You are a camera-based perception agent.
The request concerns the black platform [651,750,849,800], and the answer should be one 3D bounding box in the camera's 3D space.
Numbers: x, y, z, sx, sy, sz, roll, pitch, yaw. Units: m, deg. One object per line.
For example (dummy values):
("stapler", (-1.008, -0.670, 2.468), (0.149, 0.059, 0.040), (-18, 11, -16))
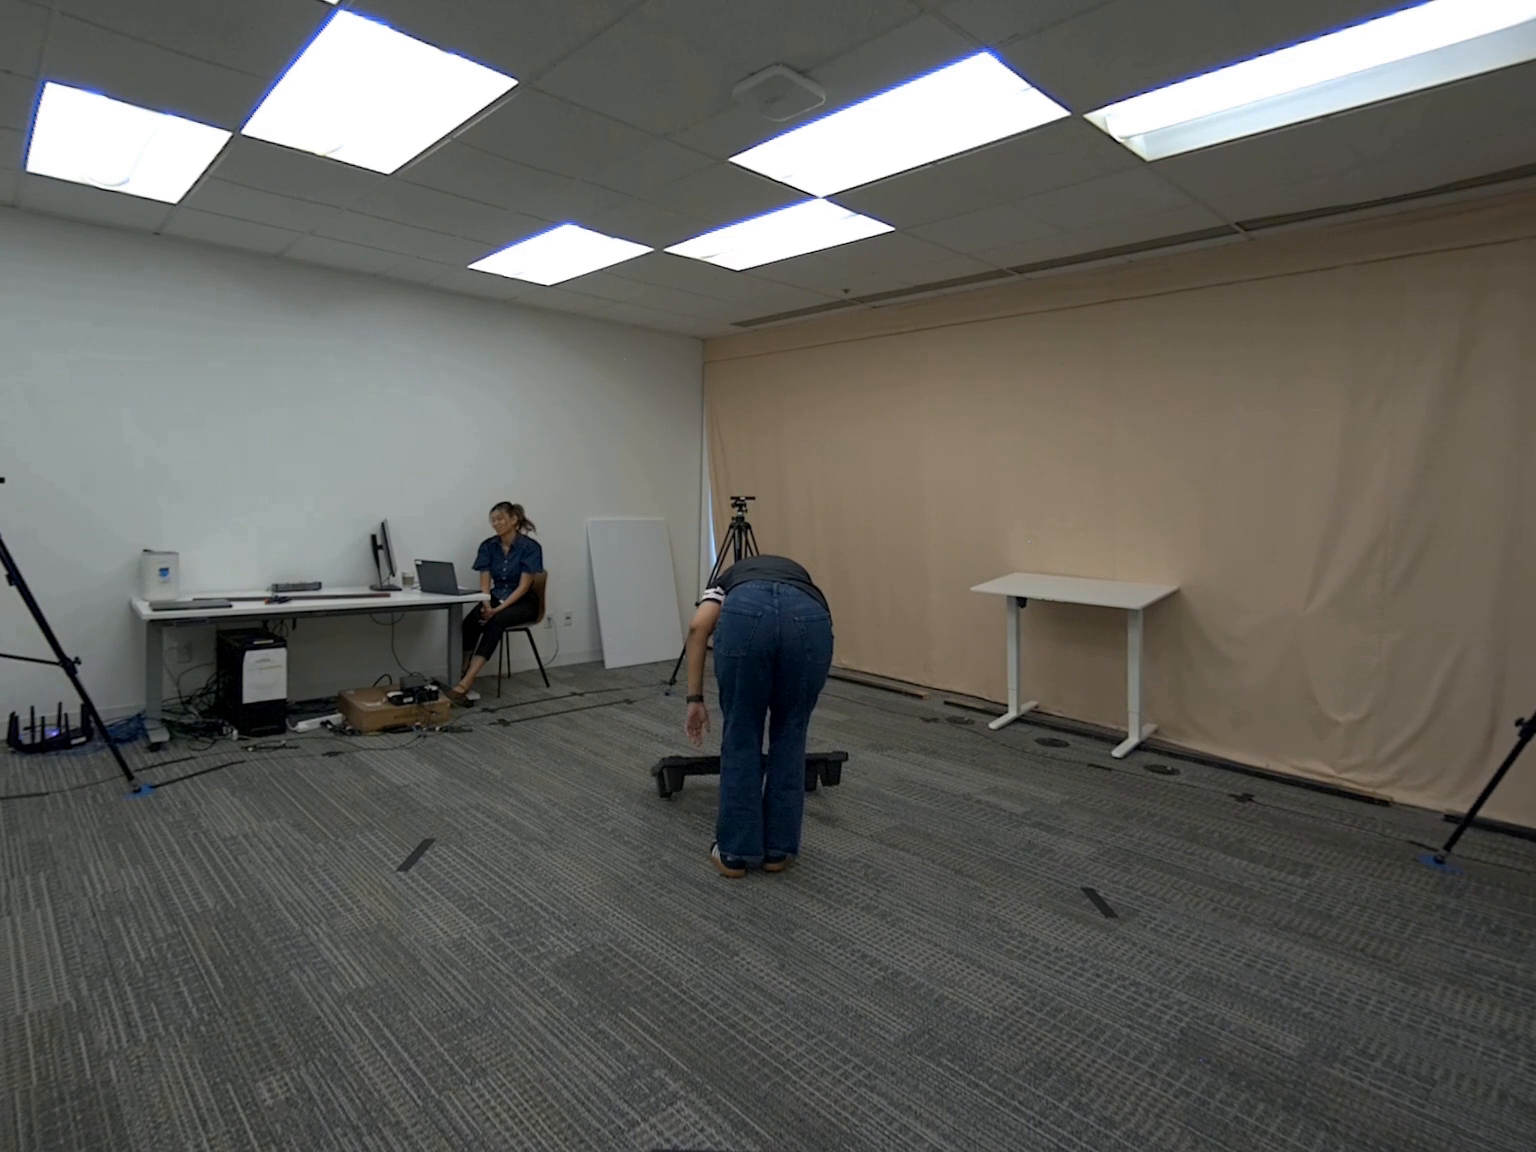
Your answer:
("black platform", (-0.114, 0.900, 3.785), (0.799, 0.145, 0.602), (1, -18, -11))
